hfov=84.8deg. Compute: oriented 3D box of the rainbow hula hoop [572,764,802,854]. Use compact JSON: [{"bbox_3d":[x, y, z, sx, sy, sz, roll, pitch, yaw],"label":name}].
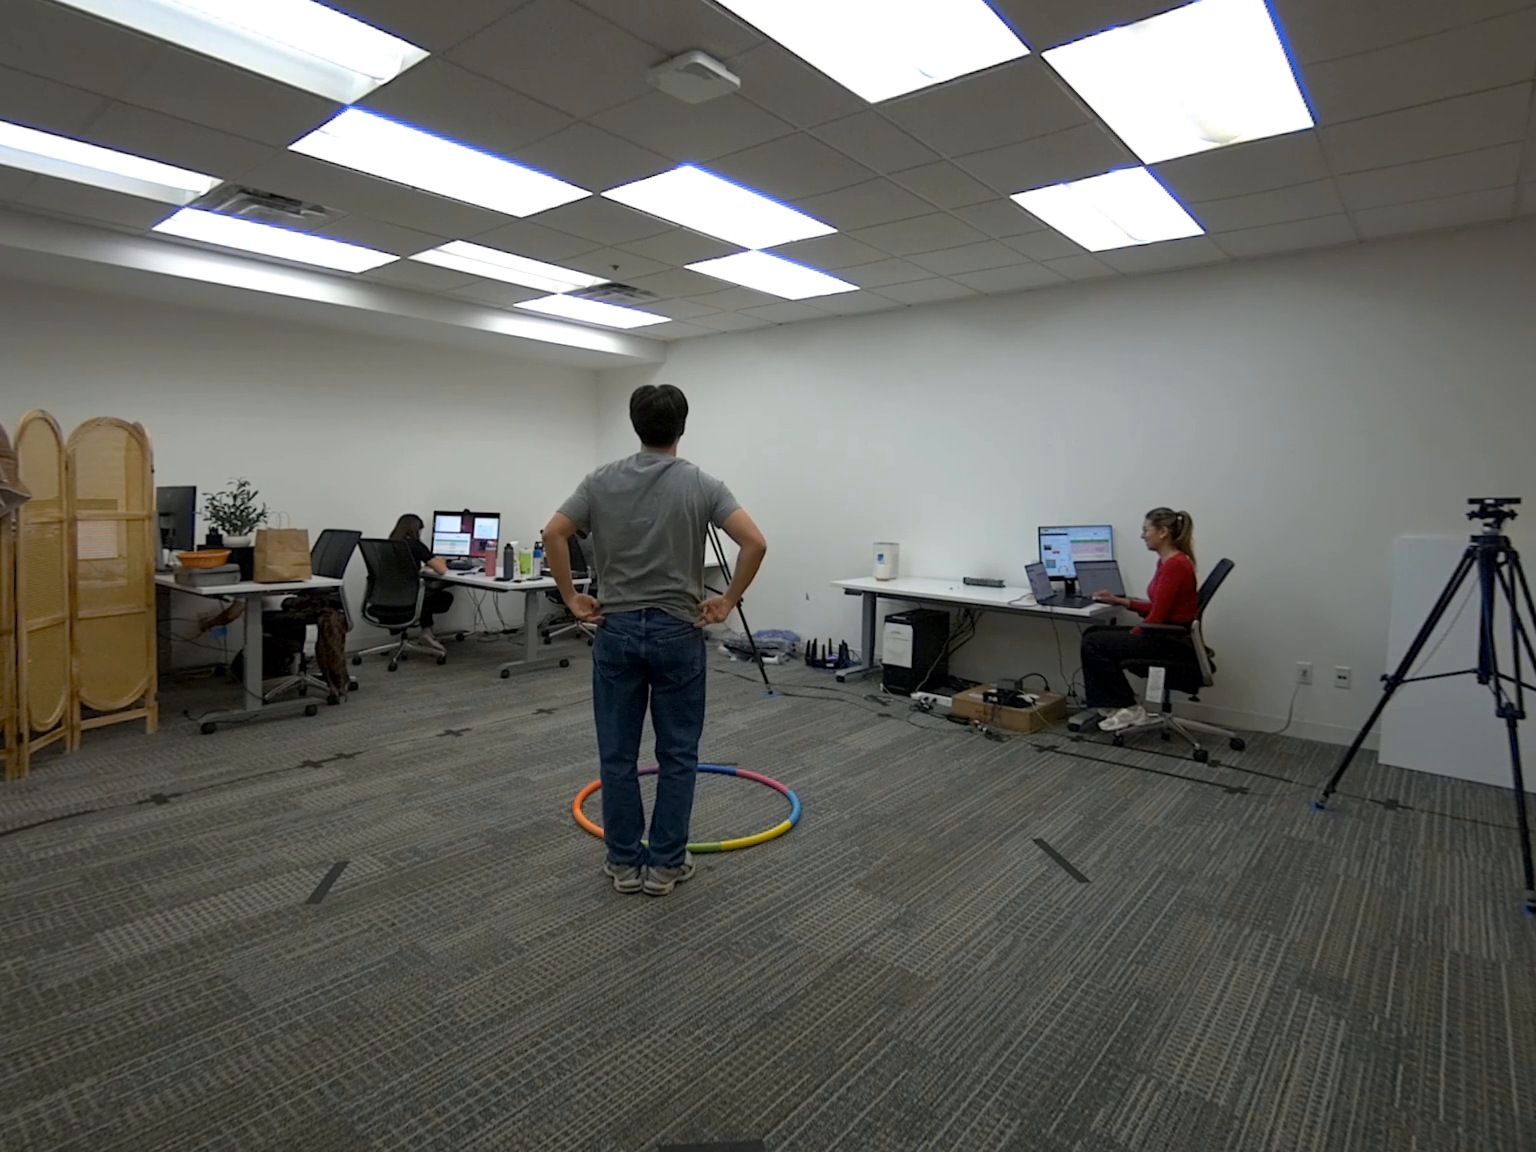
[{"bbox_3d":[-0.360,0.974,3.699,0.978,0.035,0.984,1,5,-2],"label":"rainbow hula hoop"}]
